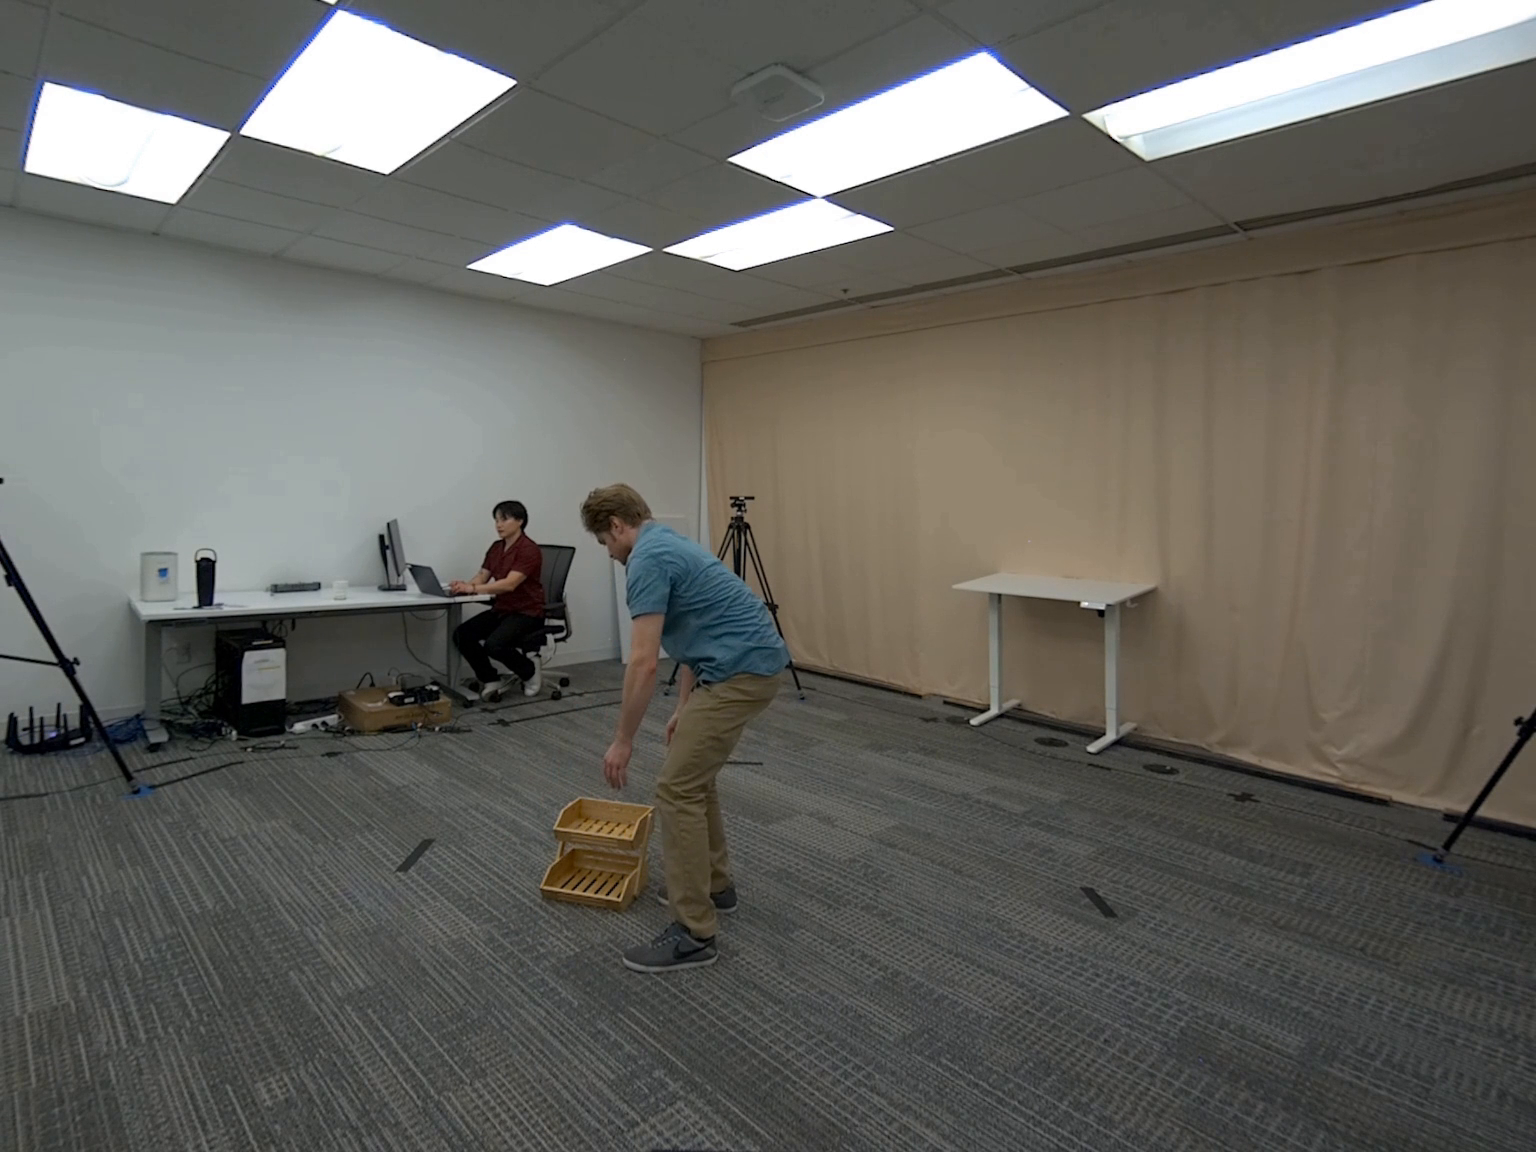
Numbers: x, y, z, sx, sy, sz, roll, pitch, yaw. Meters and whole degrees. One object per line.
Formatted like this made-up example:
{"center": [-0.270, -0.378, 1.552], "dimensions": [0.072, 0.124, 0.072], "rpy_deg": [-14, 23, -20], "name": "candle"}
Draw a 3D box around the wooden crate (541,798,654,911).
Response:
{"center": [-0.607, 0.975, 2.962], "dimensions": [0.328, 0.272, 0.299], "rpy_deg": [3, 4, 14], "name": "wooden crate"}
